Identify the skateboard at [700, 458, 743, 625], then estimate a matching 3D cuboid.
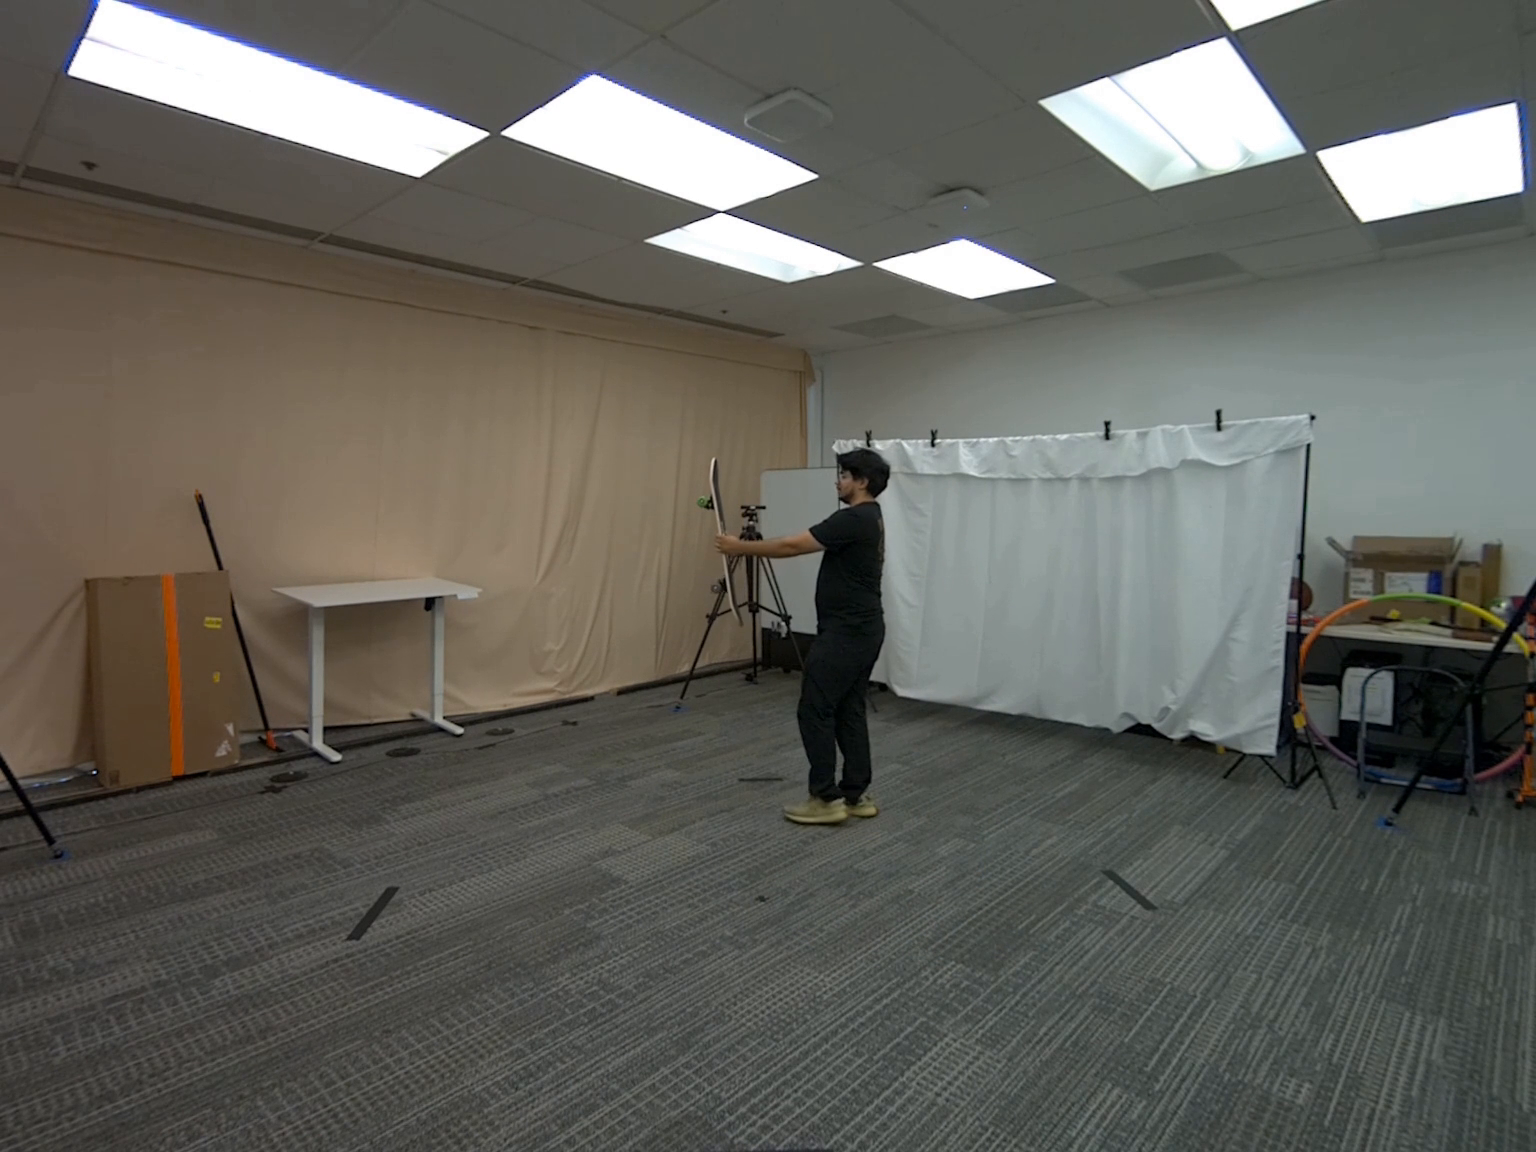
[{"bbox_3d":[-0.233,-0.142,3.907,0.111,0.786,0.192,-10,-1,7],"label":"skateboard"}]
